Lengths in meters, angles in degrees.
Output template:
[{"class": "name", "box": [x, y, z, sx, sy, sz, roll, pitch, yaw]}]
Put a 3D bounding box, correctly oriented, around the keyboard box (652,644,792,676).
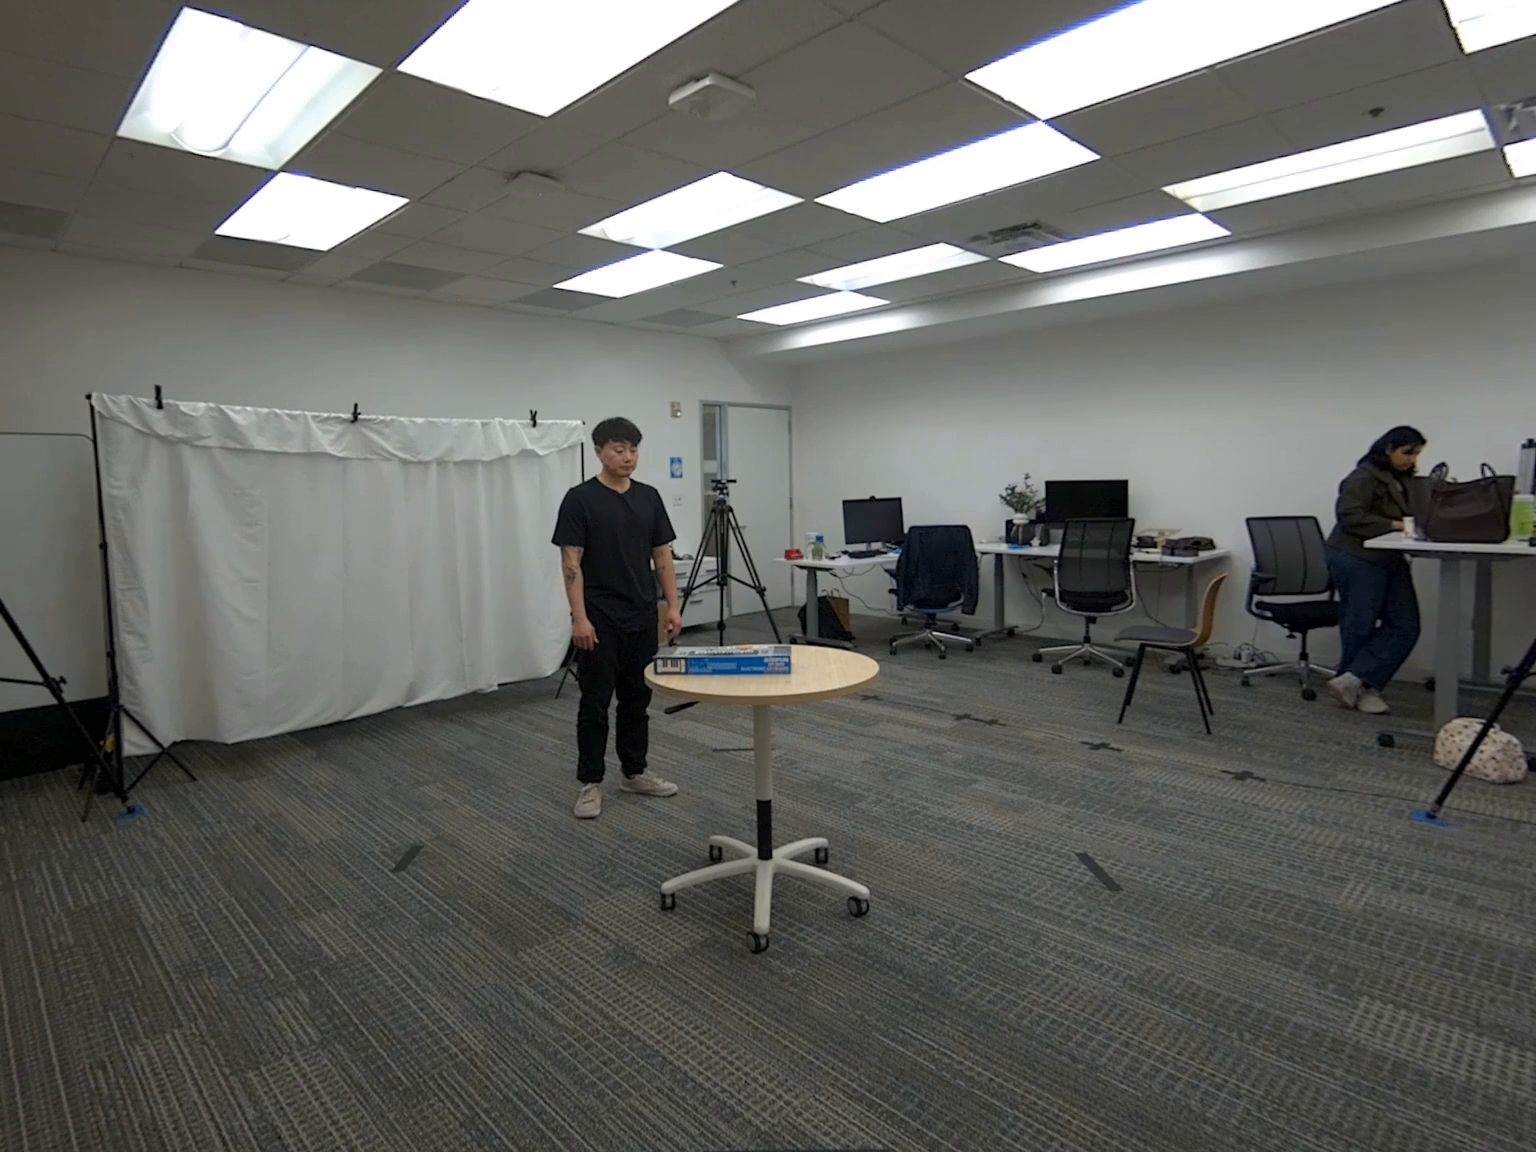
[{"class": "keyboard box", "box": [-0.141, 0.271, 2.790, 0.439, 0.059, 0.176, -1, 6, 5]}]
